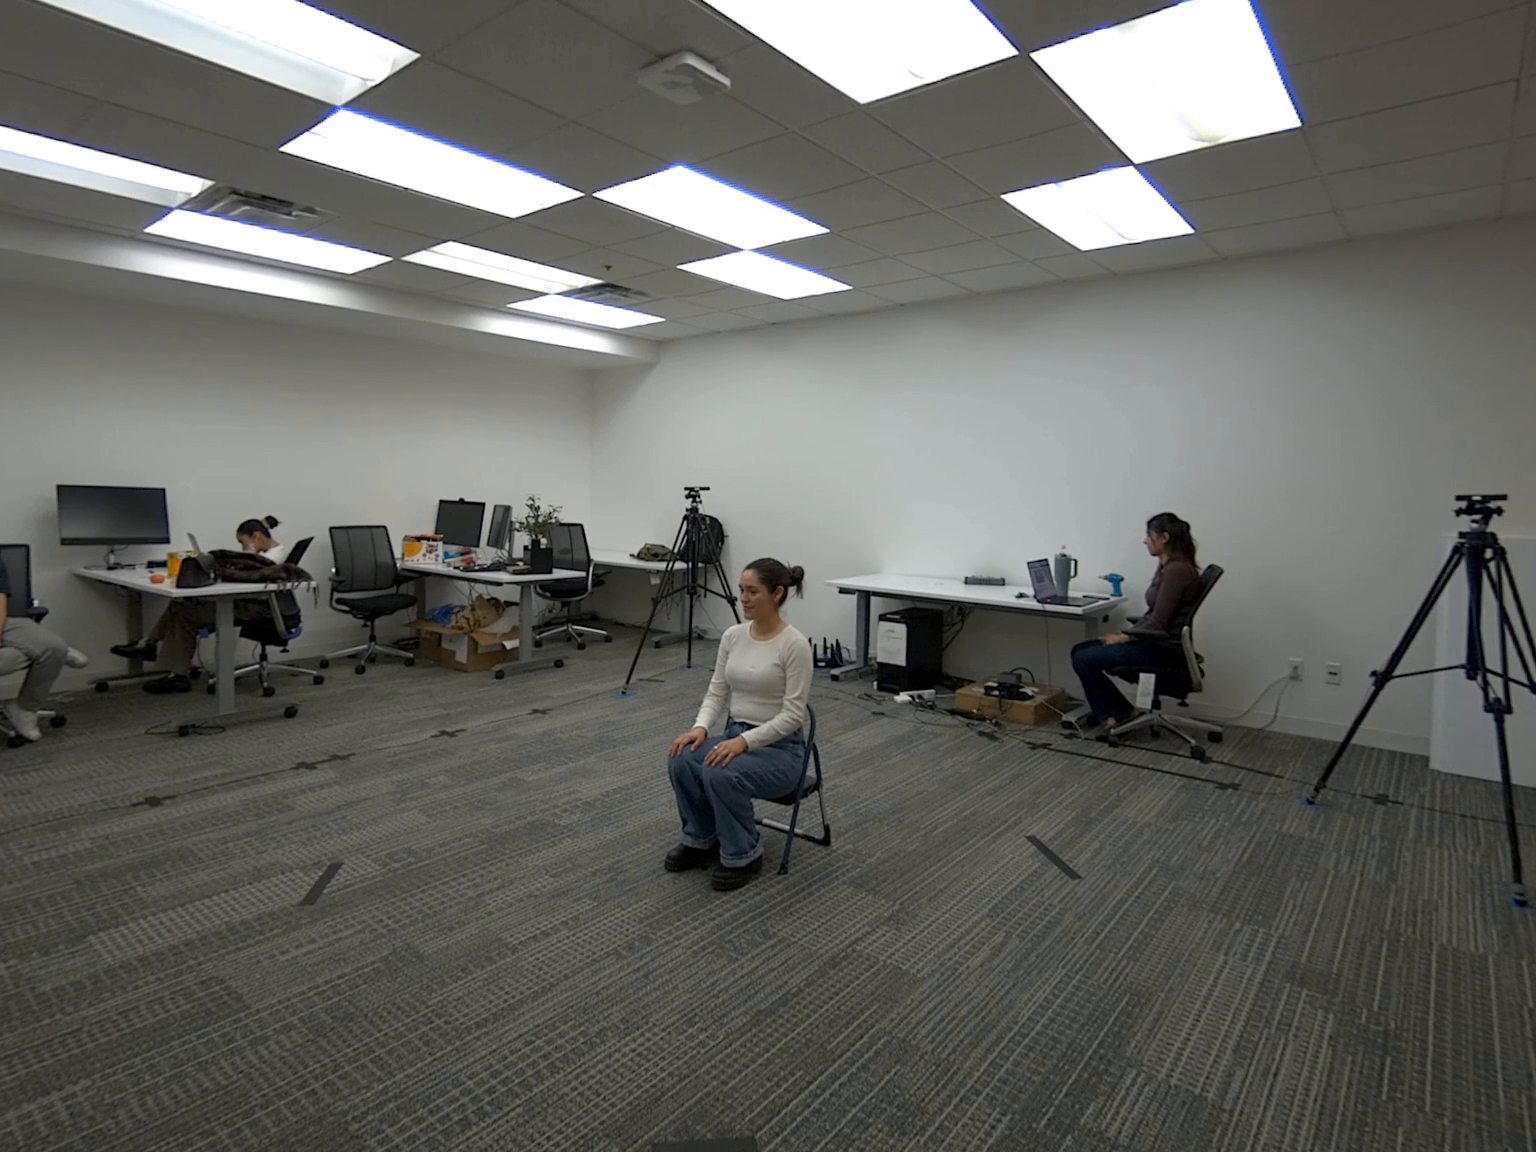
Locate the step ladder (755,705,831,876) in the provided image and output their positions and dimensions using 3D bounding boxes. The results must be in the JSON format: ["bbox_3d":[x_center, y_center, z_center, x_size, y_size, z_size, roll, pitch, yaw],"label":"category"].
[{"bbox_3d":[-0.014,0.742,3.317,0.445,0.604,0.339,4,4,36],"label":"step ladder"}]
